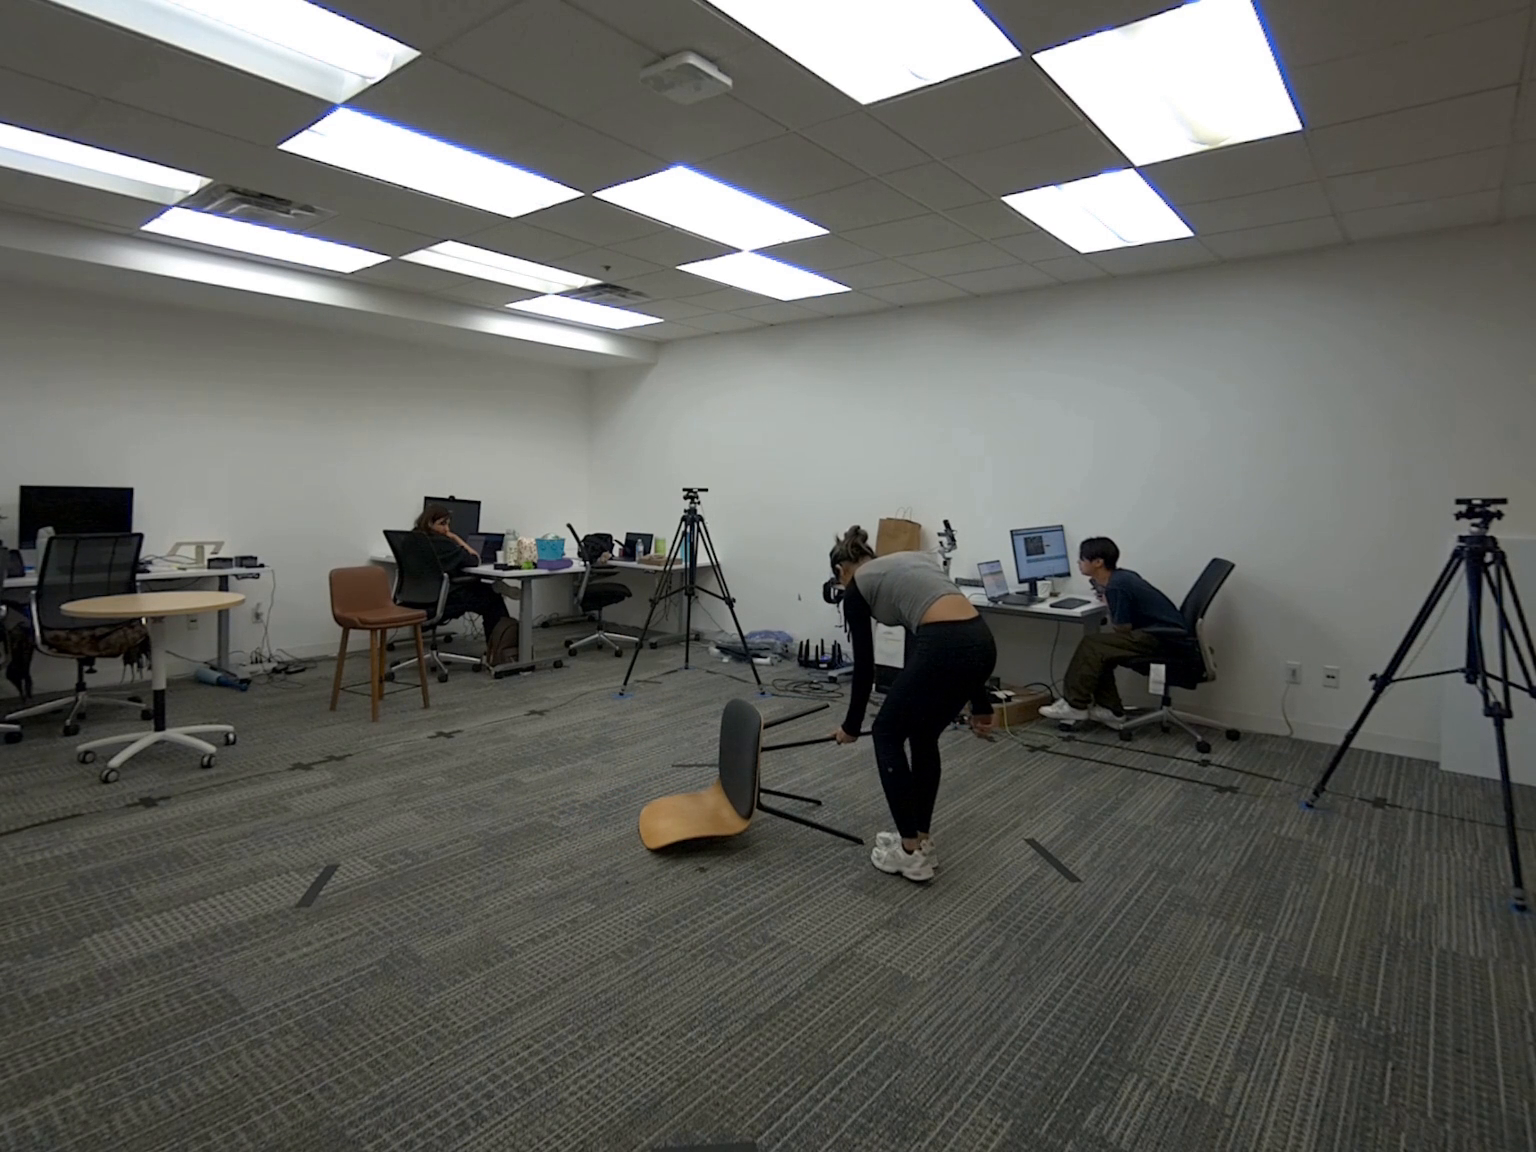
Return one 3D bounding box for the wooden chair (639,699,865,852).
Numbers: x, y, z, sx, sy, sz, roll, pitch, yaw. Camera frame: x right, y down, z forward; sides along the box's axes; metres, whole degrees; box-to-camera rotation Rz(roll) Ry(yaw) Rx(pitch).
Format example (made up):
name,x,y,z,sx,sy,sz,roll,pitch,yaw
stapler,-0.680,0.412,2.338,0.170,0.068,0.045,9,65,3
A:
name,x,y,z,sx,sy,sz,roll,pitch,yaw
wooden chair,-0.088,0.777,3.448,0.863,0.521,0.487,-1,4,-16
